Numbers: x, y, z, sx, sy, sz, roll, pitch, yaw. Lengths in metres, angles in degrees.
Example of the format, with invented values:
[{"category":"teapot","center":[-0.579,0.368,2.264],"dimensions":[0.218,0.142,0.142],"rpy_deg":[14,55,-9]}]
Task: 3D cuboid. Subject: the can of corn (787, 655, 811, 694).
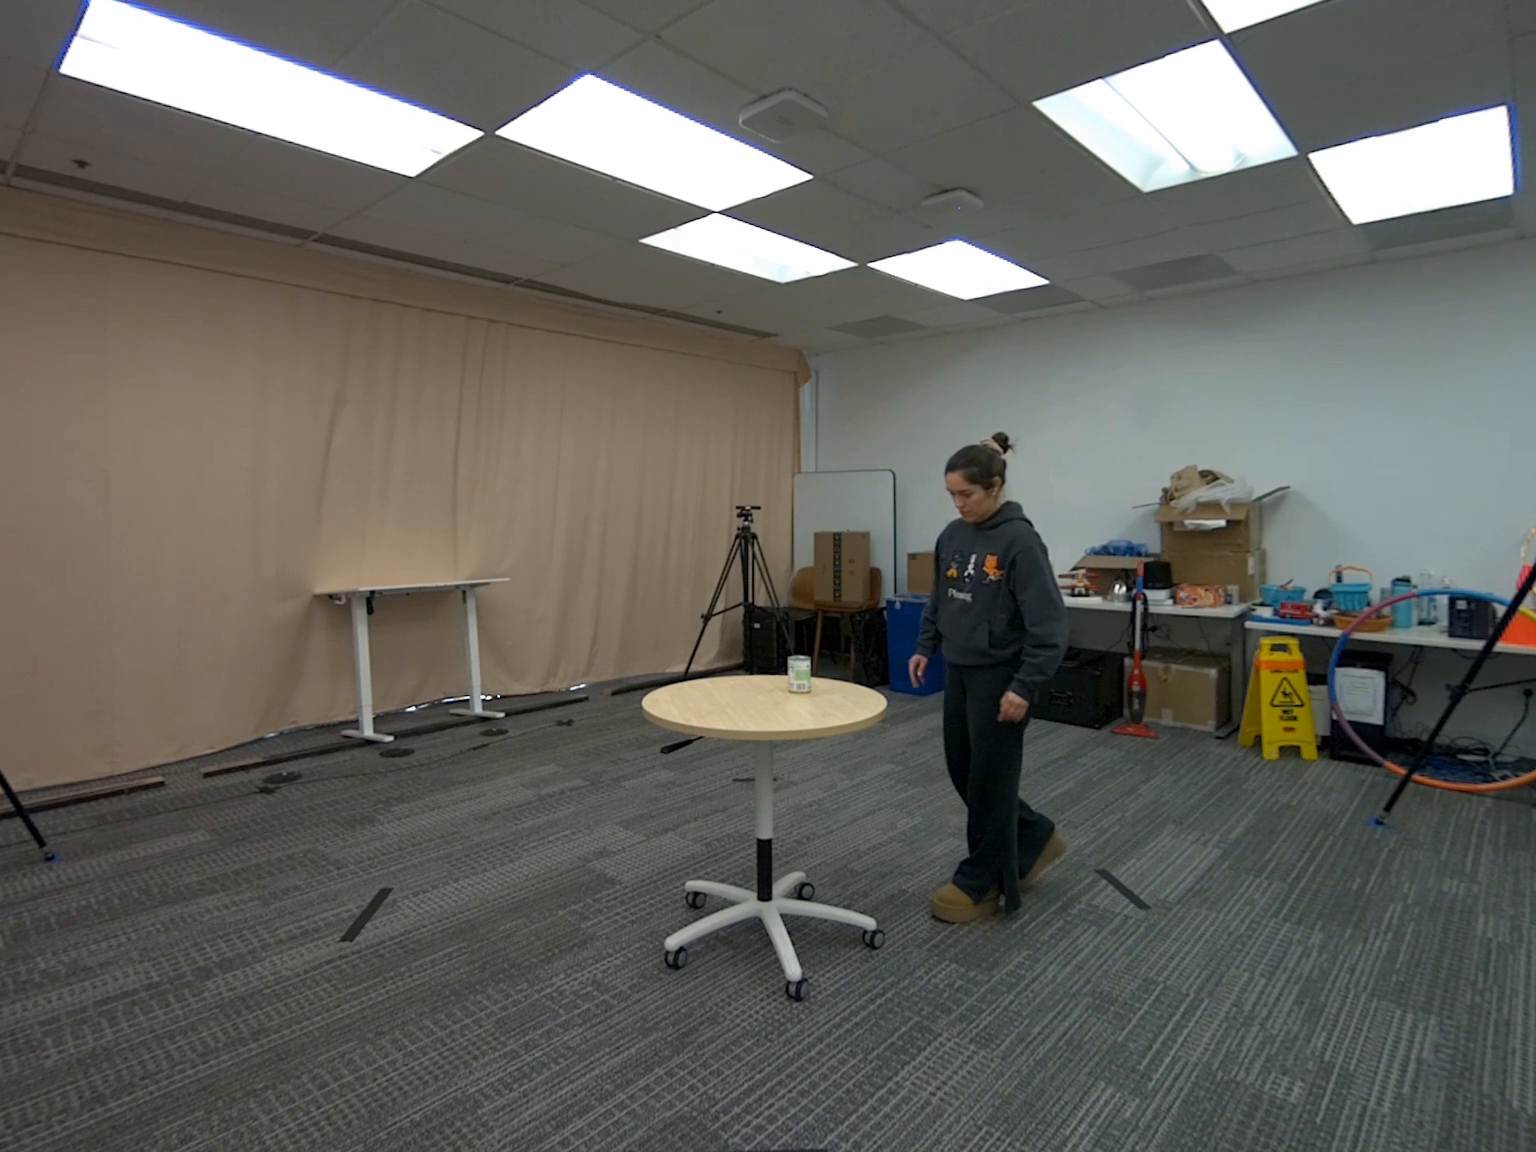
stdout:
[{"category":"can of corn","center":[0.117,0.323,2.750],"dimensions":[0.074,0.111,0.074],"rpy_deg":[-1,2,-2]}]
